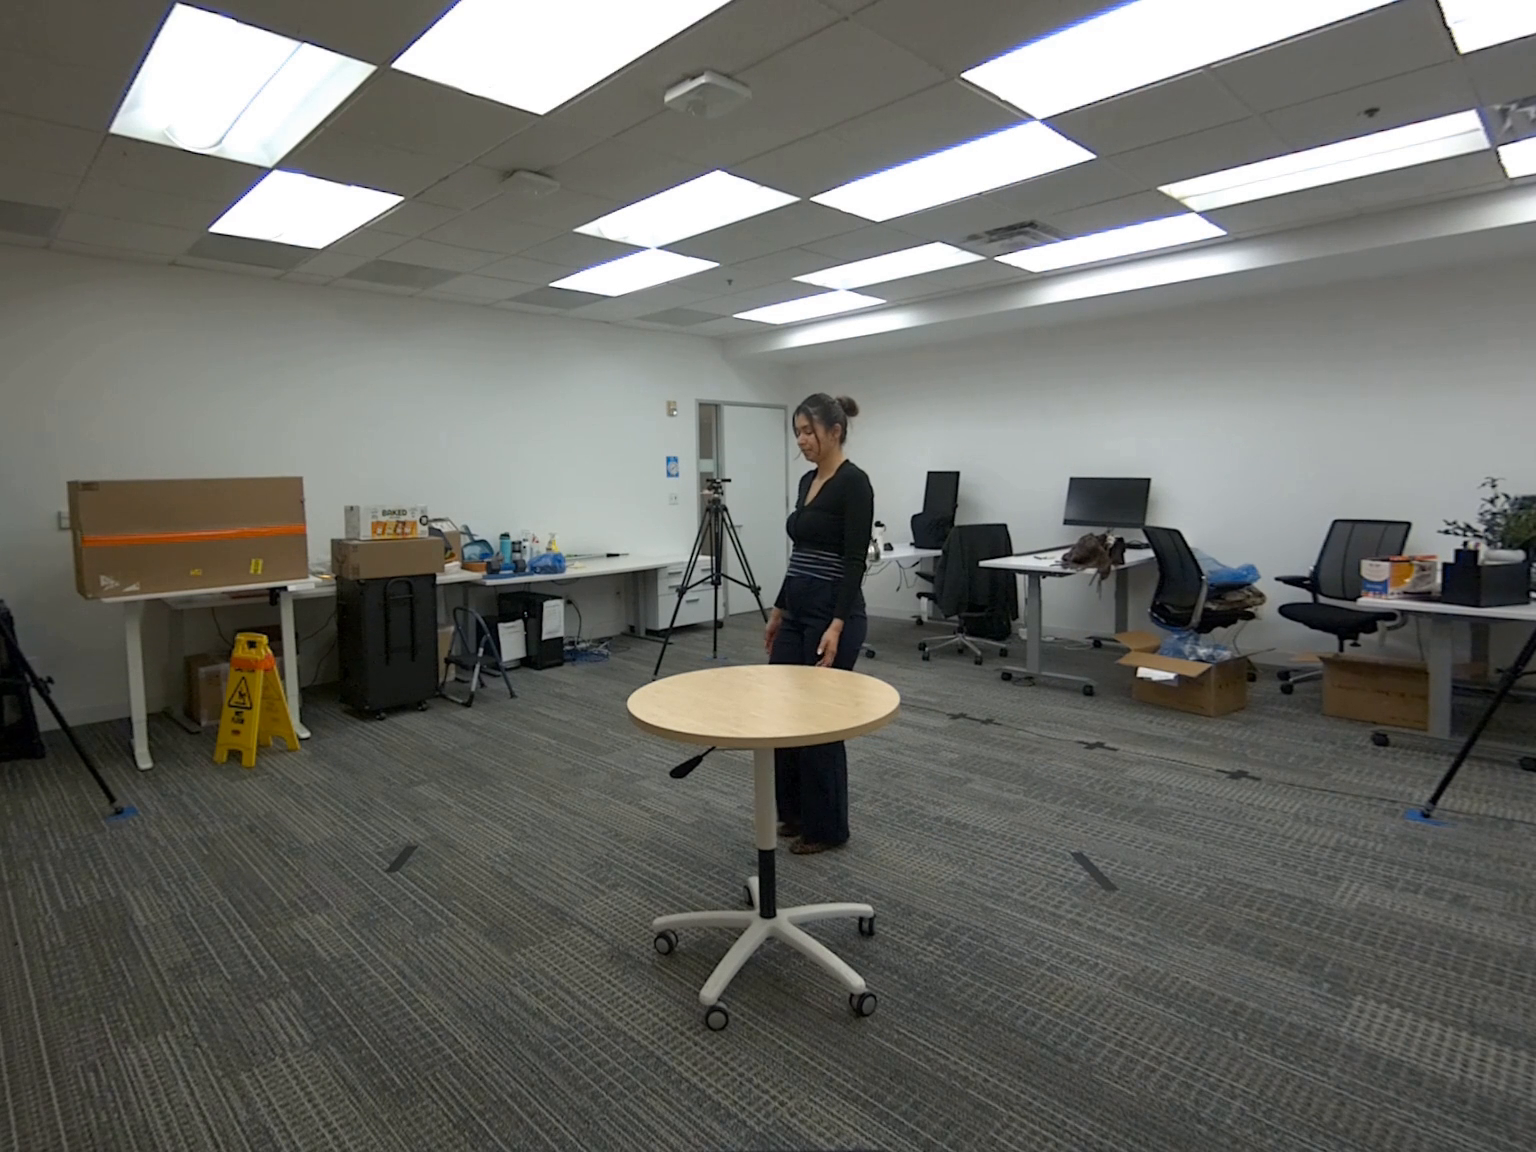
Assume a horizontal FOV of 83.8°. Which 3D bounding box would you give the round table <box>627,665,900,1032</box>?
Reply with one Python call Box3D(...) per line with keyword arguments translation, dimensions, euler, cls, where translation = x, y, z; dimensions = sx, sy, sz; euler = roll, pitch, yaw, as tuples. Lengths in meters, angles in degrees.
Box3D(translation=(0.004, 0.734, 2.444), dimensions=(0.763, 0.790, 0.768), euler=(-2, 5, -1), cls="round table")
